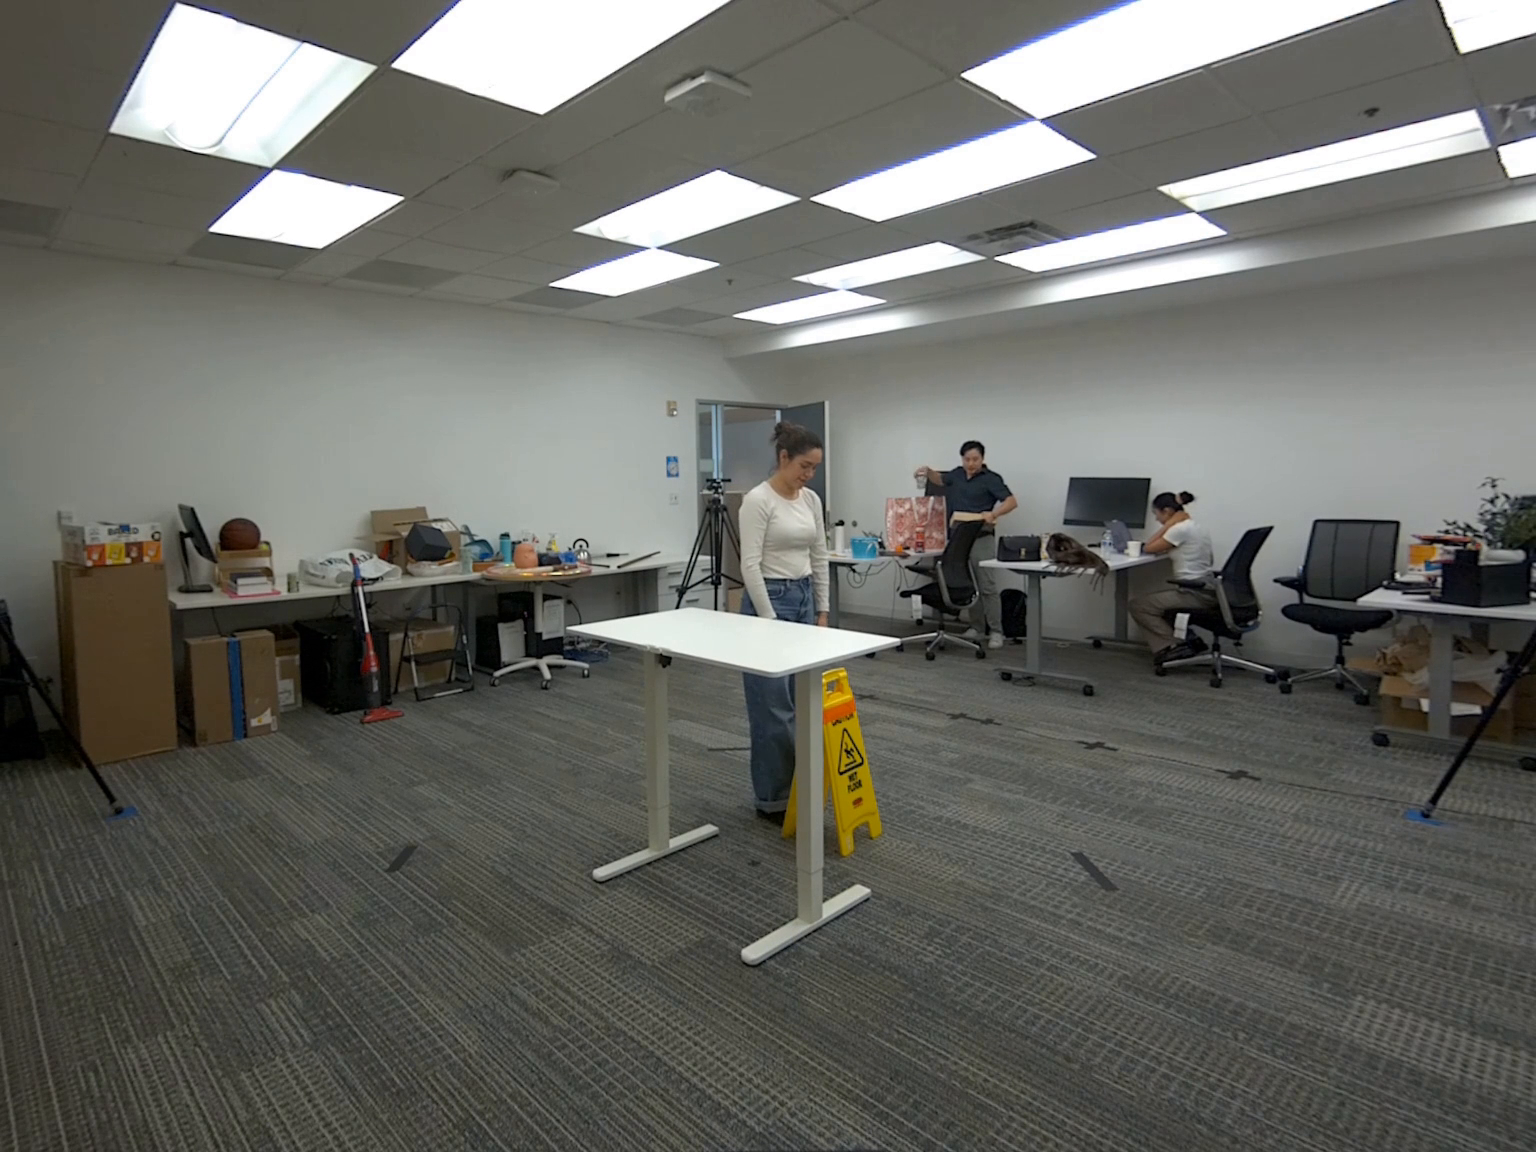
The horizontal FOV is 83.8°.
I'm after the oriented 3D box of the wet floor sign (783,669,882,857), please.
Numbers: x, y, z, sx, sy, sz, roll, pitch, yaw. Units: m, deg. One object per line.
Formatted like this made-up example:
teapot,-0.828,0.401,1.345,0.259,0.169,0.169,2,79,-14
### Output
wet floor sign,0.243,0.694,3.321,0.298,0.644,0.275,2,5,39
